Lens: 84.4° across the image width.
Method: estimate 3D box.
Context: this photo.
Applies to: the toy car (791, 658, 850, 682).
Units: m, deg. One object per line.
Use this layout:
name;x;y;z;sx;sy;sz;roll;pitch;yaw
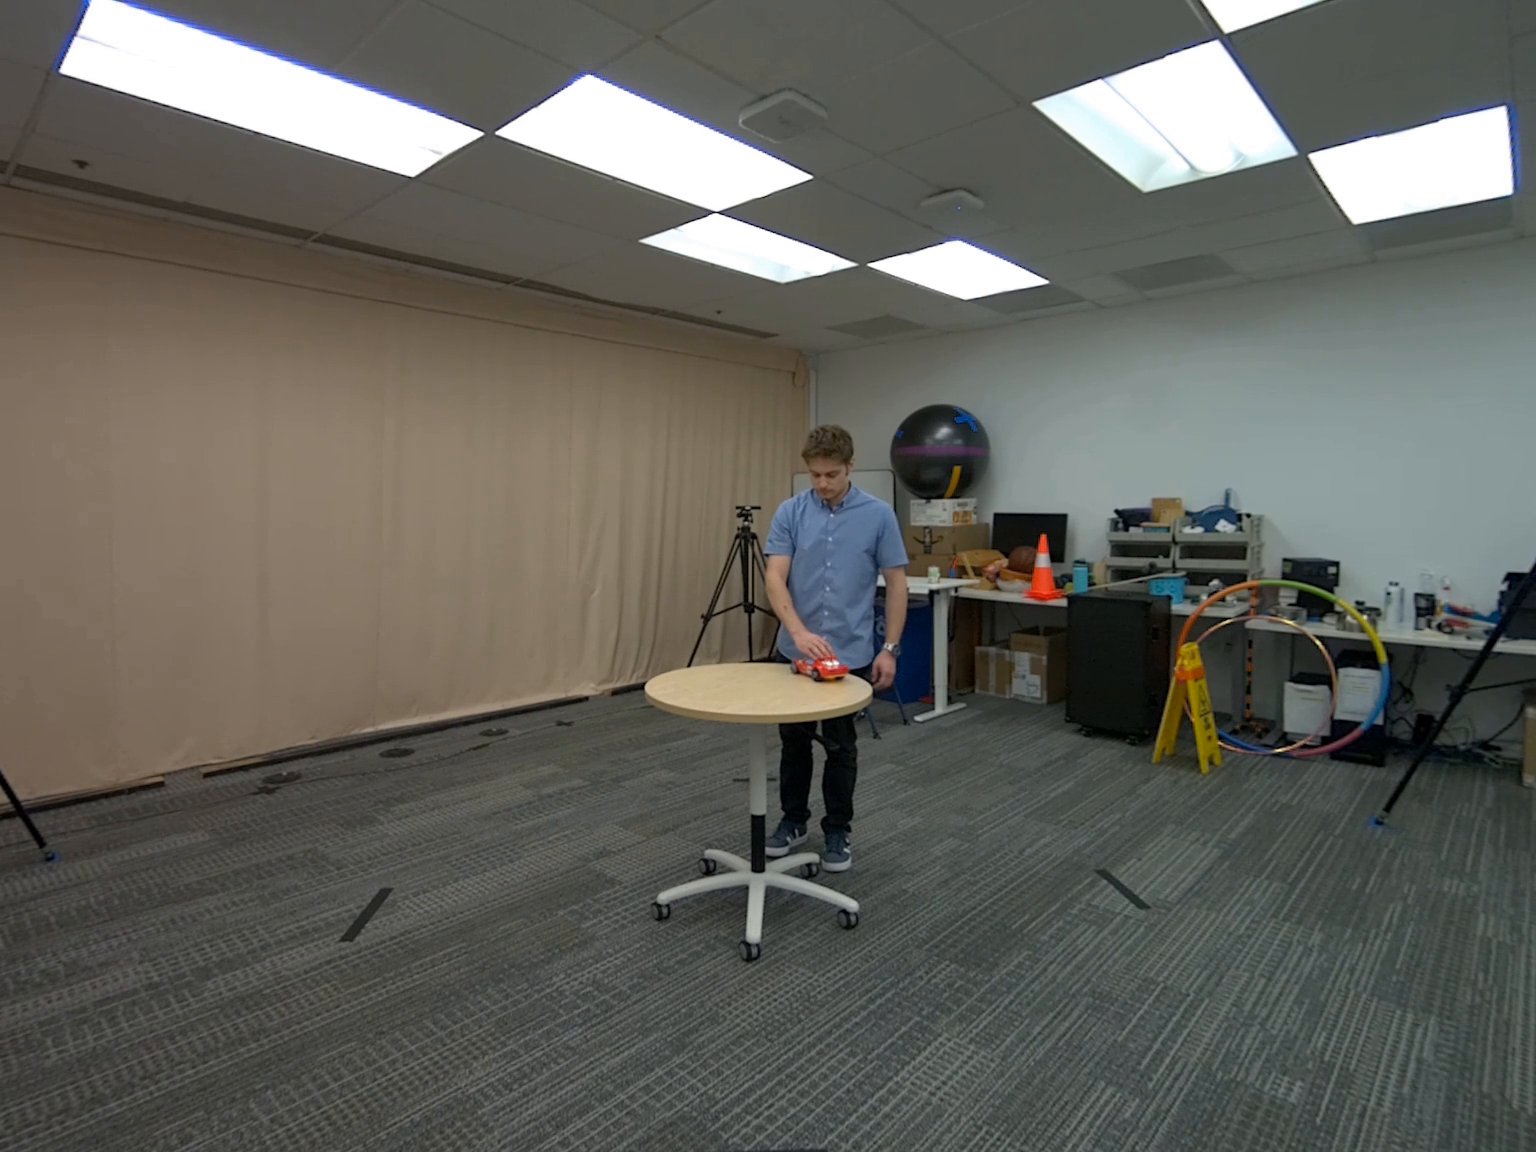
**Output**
toy car;0.187;0.328;2.973;0.127;0.083;0.259;0;-7;-24
